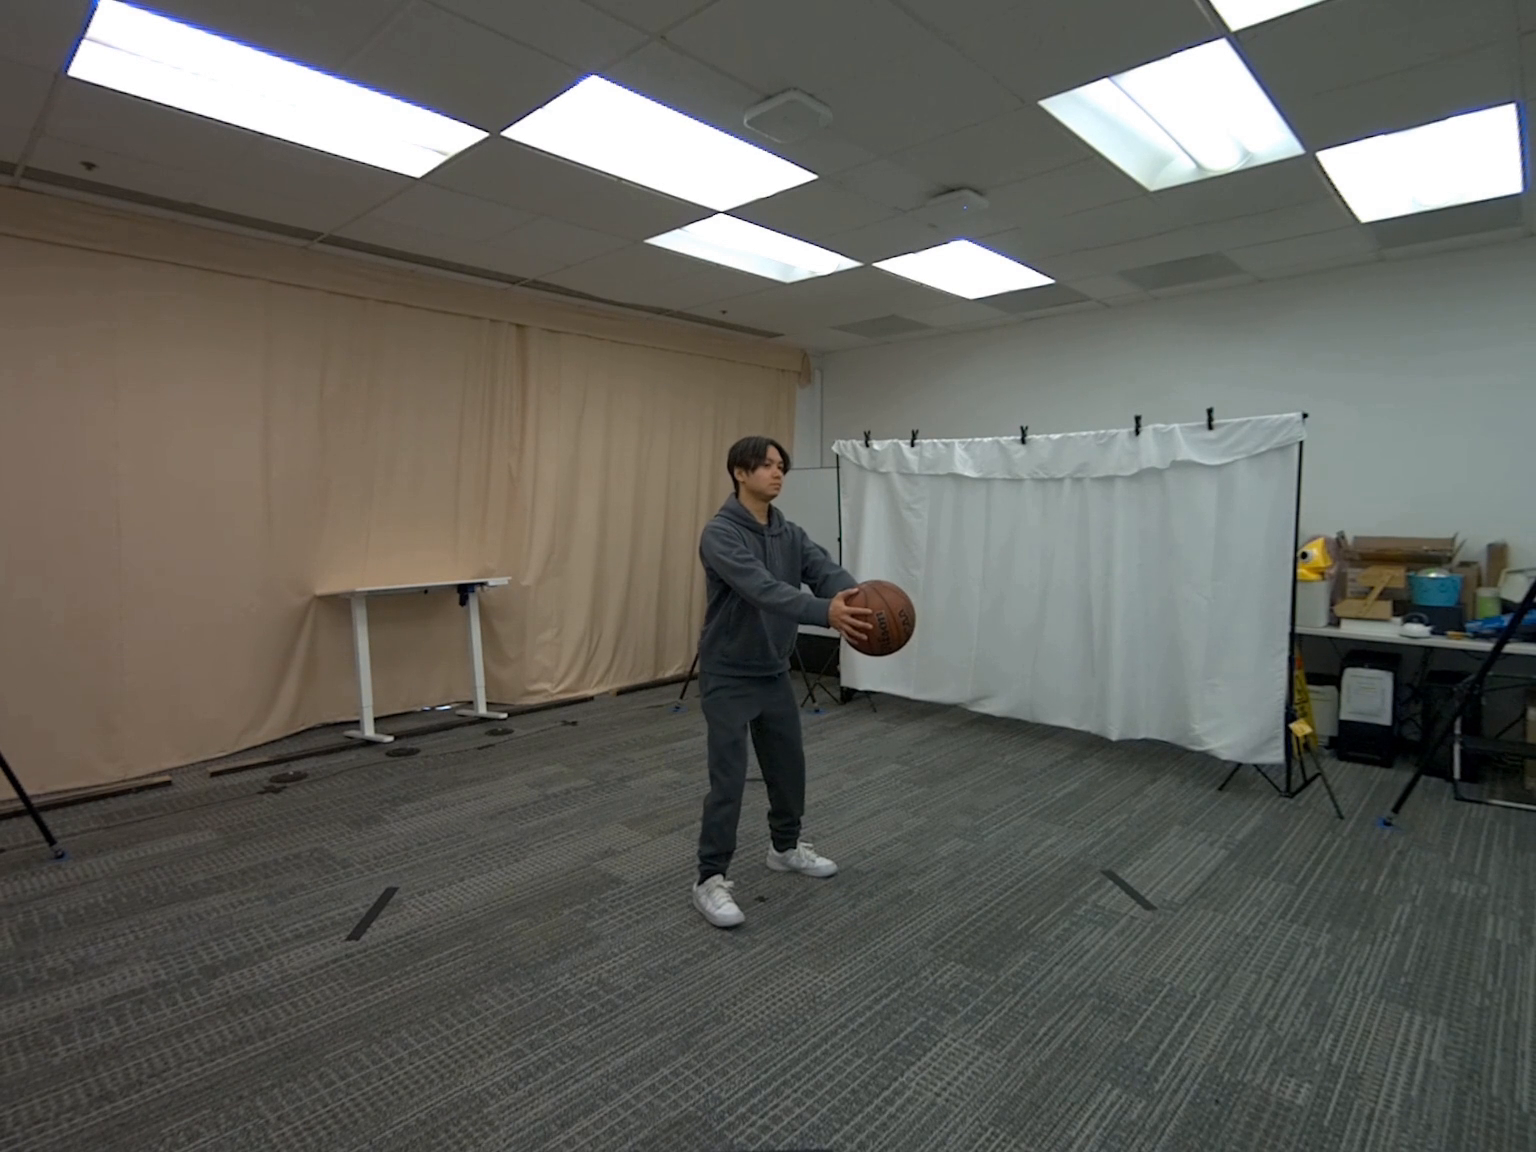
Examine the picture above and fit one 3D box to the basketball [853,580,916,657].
[{"bbox_3d":[0.345,0.143,2.614,0.236,0.235,0.237,0,4,-2],"label":"basketball"}]
